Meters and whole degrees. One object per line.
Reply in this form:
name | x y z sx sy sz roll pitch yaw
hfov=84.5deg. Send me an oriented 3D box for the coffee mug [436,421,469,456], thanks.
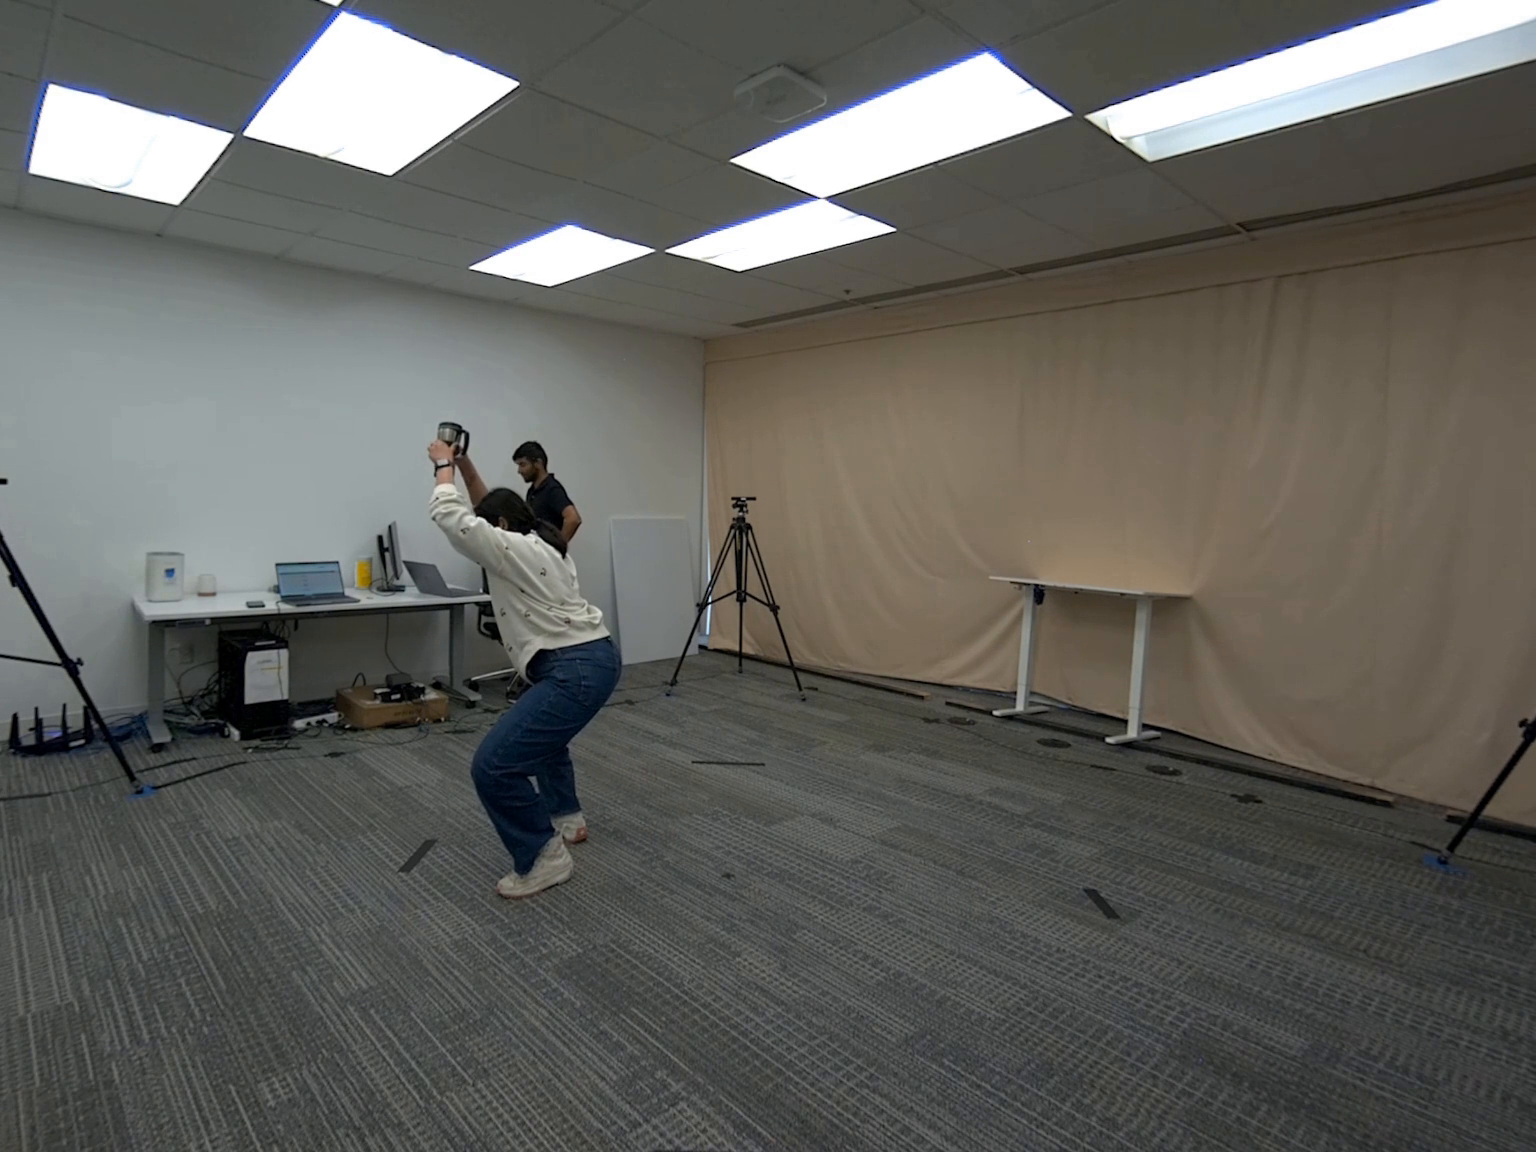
coffee mug | -1.229 -0.464 3.146 0.120 0.204 0.089 11 -7 -19
